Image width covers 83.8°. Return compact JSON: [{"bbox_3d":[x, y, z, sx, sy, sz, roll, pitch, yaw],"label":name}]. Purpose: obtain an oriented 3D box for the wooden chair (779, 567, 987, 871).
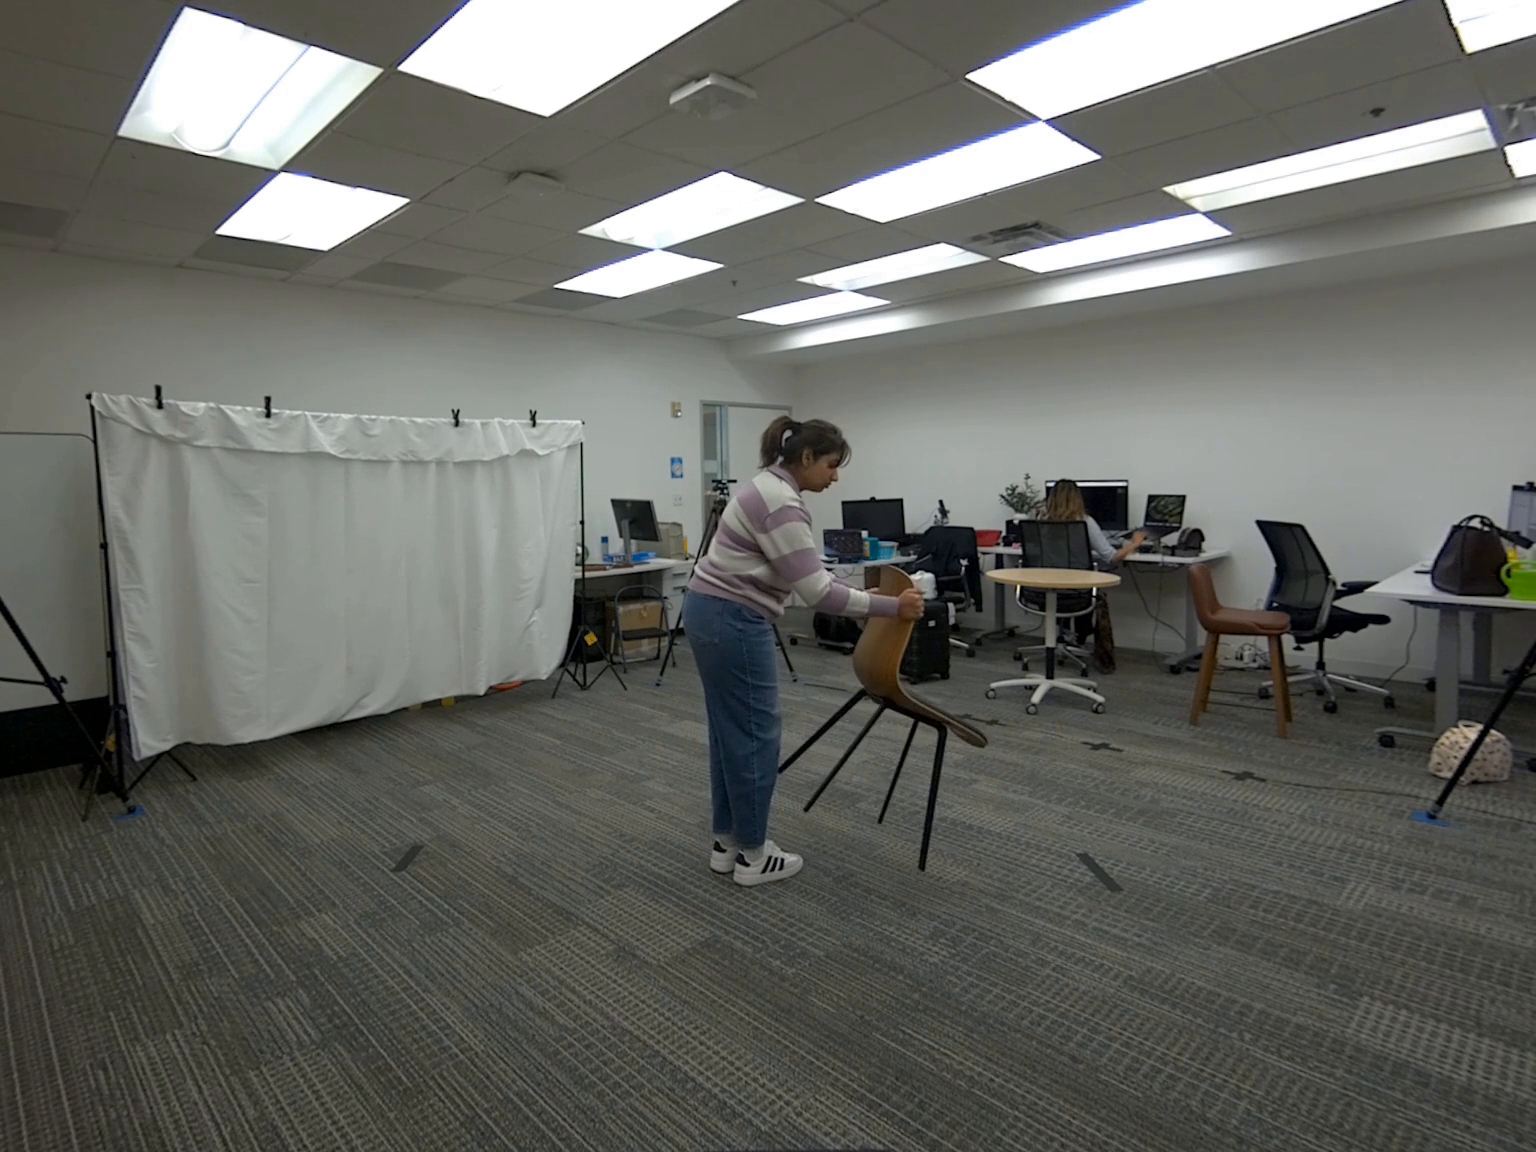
[{"bbox_3d":[0.470,0.468,2.981,0.518,0.878,0.482,23,-2,-9],"label":"wooden chair"}]
